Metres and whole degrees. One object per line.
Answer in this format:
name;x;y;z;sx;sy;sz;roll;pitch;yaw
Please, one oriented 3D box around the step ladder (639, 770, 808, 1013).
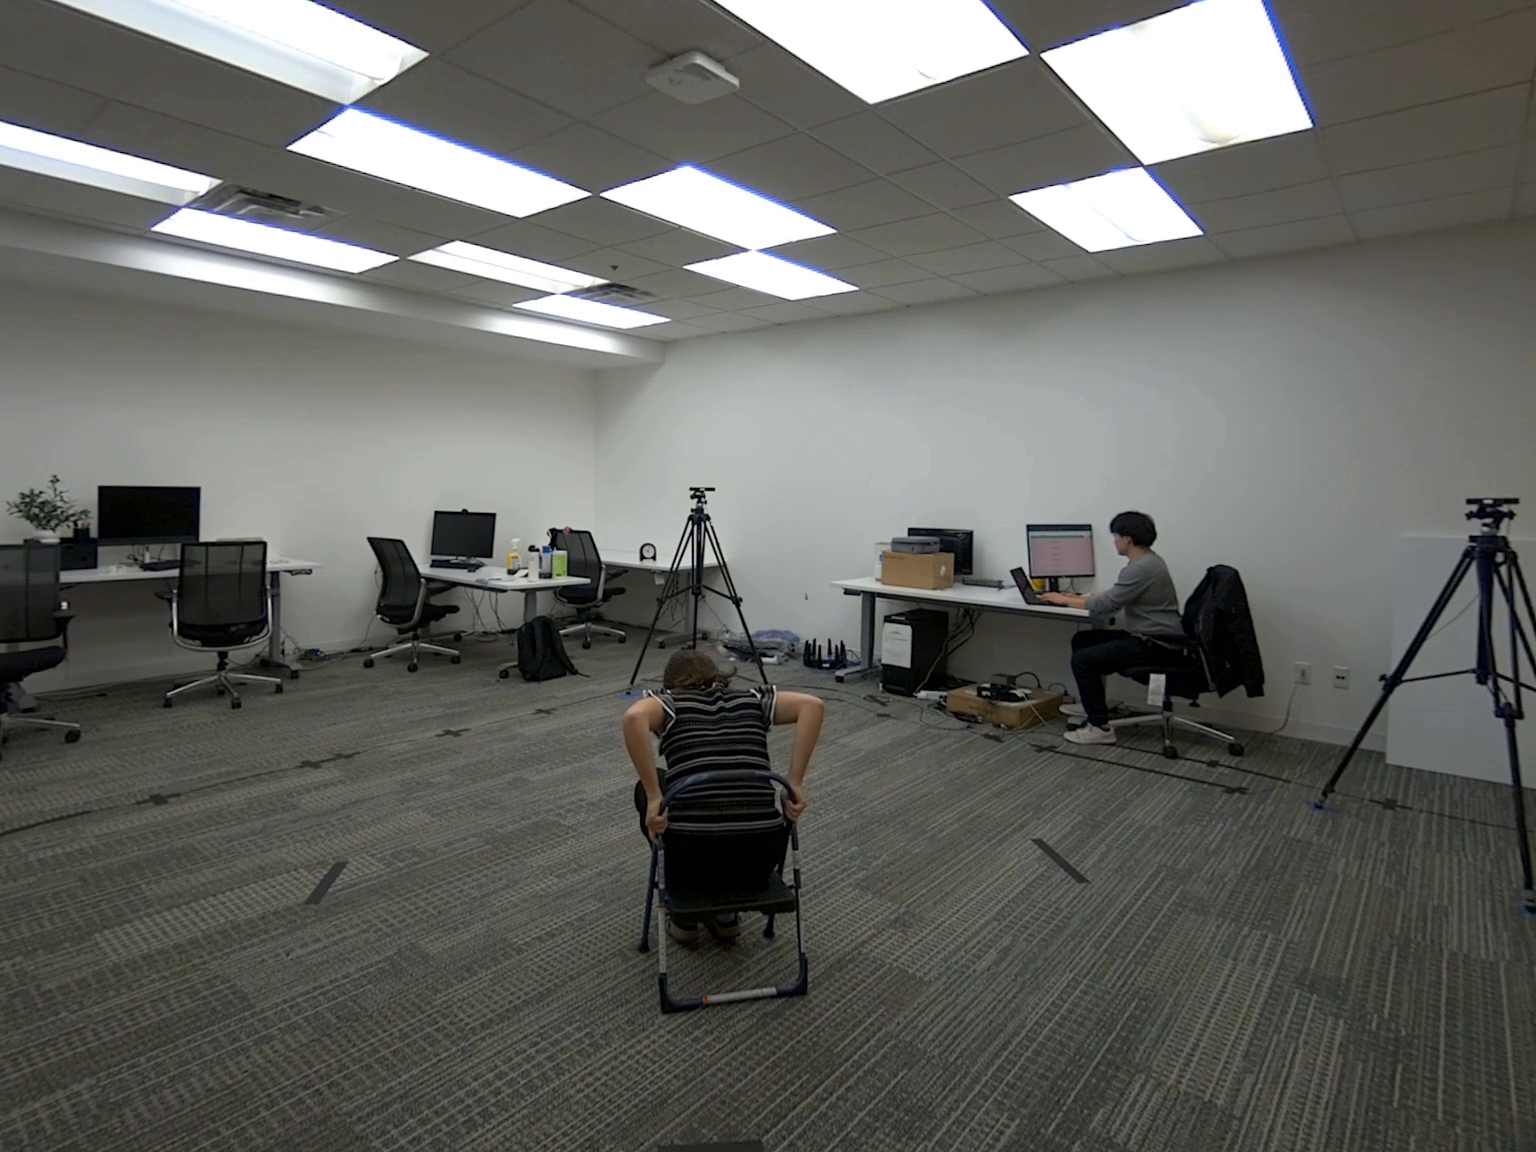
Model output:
step ladder;-0.137;0.837;2.439;0.423;0.604;0.356;-1;3;-17
